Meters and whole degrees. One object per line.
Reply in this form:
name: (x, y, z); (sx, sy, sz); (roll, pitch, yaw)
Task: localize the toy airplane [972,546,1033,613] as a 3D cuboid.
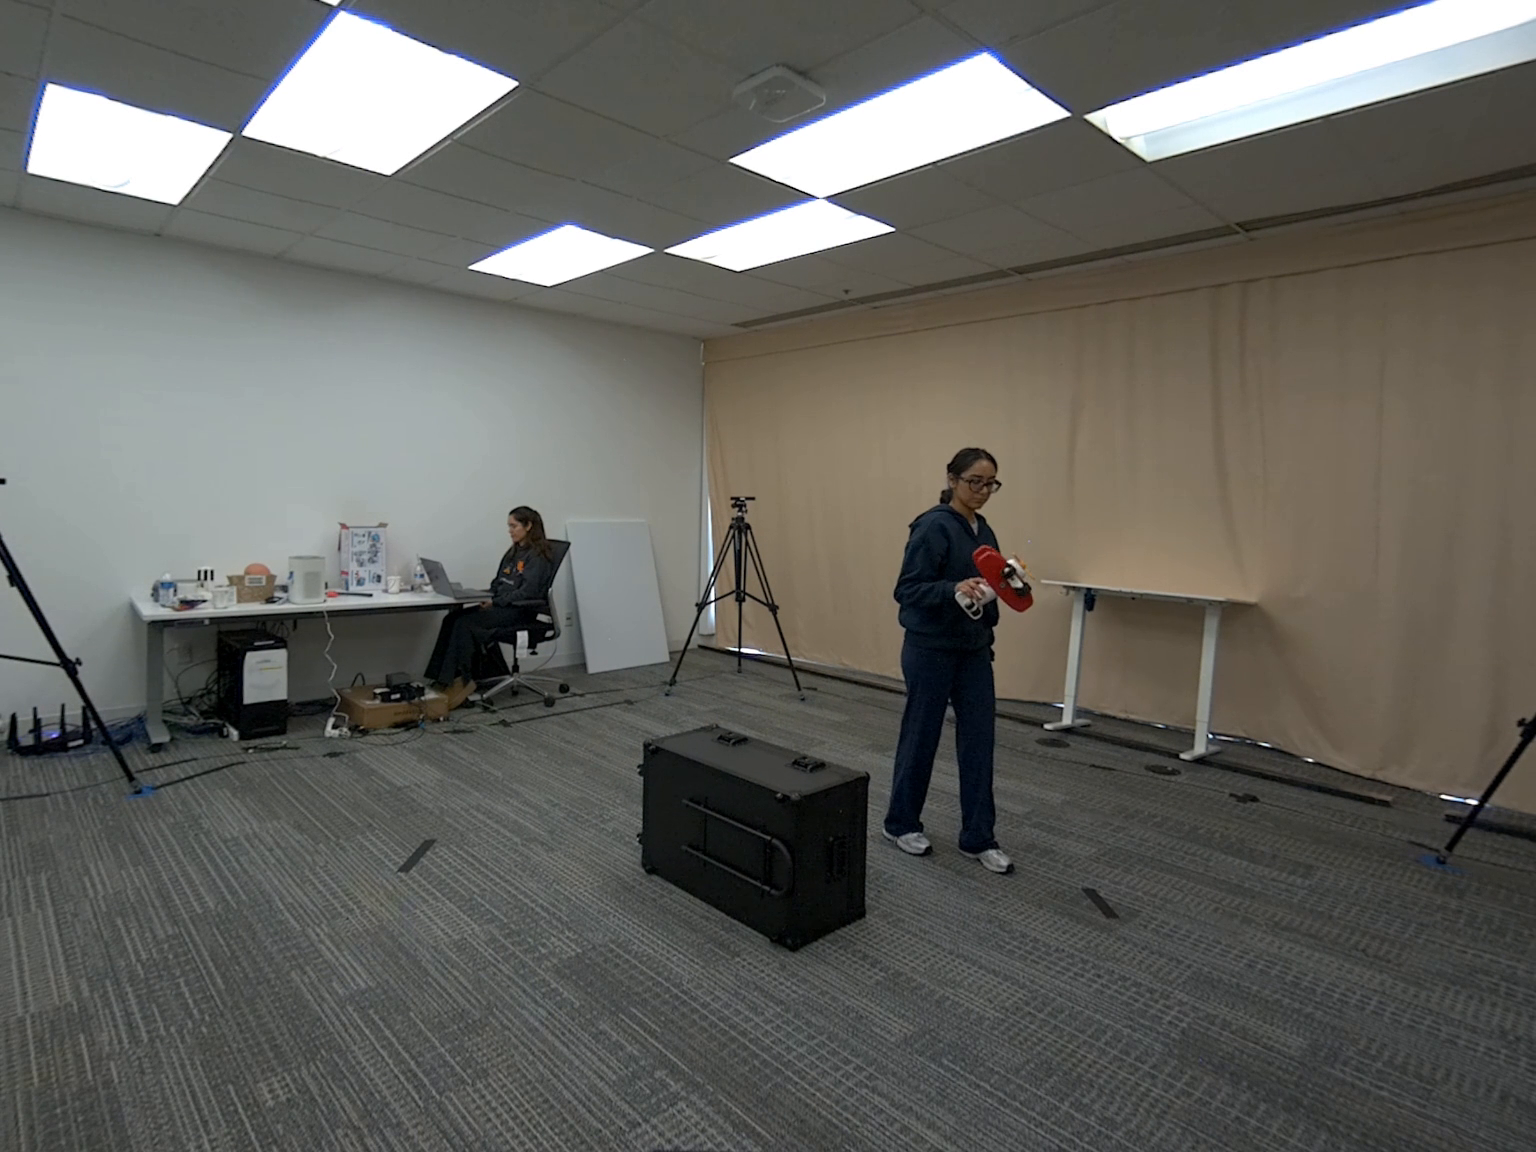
toy airplane: (0.780, 0.021, 2.982); (0.262, 0.246, 0.157); (-7, 22, 18)
